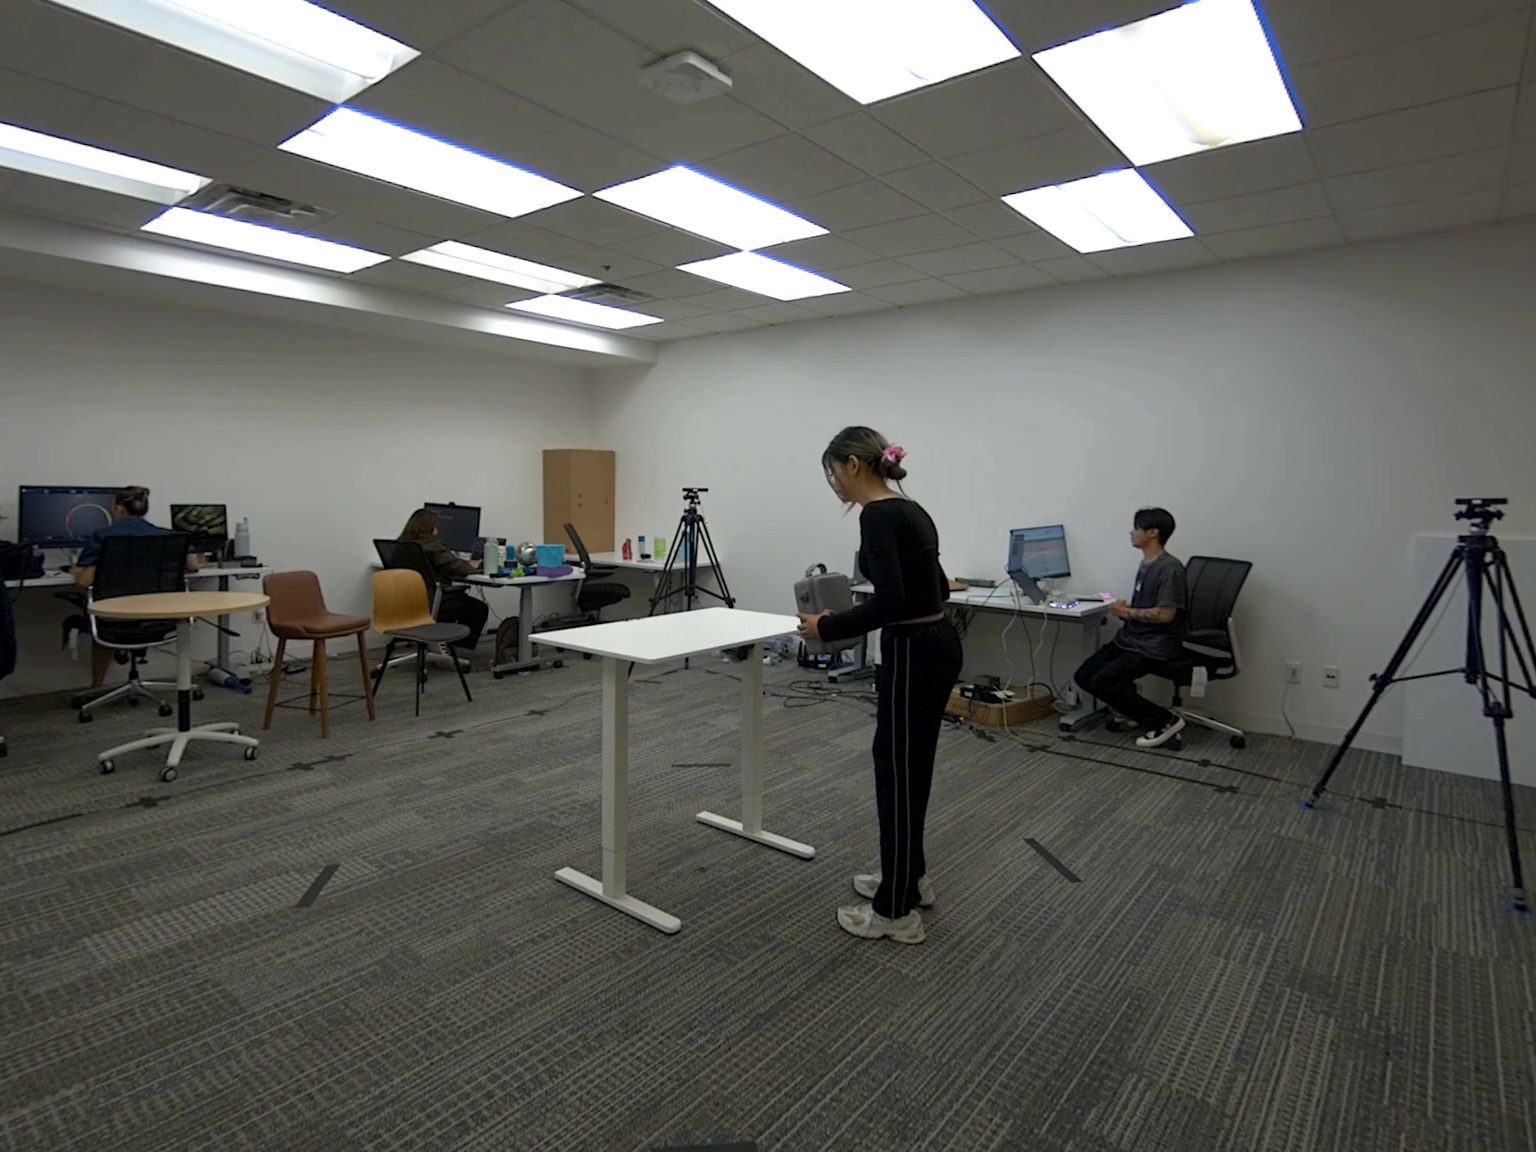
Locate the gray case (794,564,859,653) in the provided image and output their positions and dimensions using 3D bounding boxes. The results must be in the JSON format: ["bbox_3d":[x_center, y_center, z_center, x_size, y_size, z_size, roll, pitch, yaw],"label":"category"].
[{"bbox_3d":[0.183,0.121,2.808,0.106,0.262,0.250,-15,-6,30],"label":"gray case"}]
